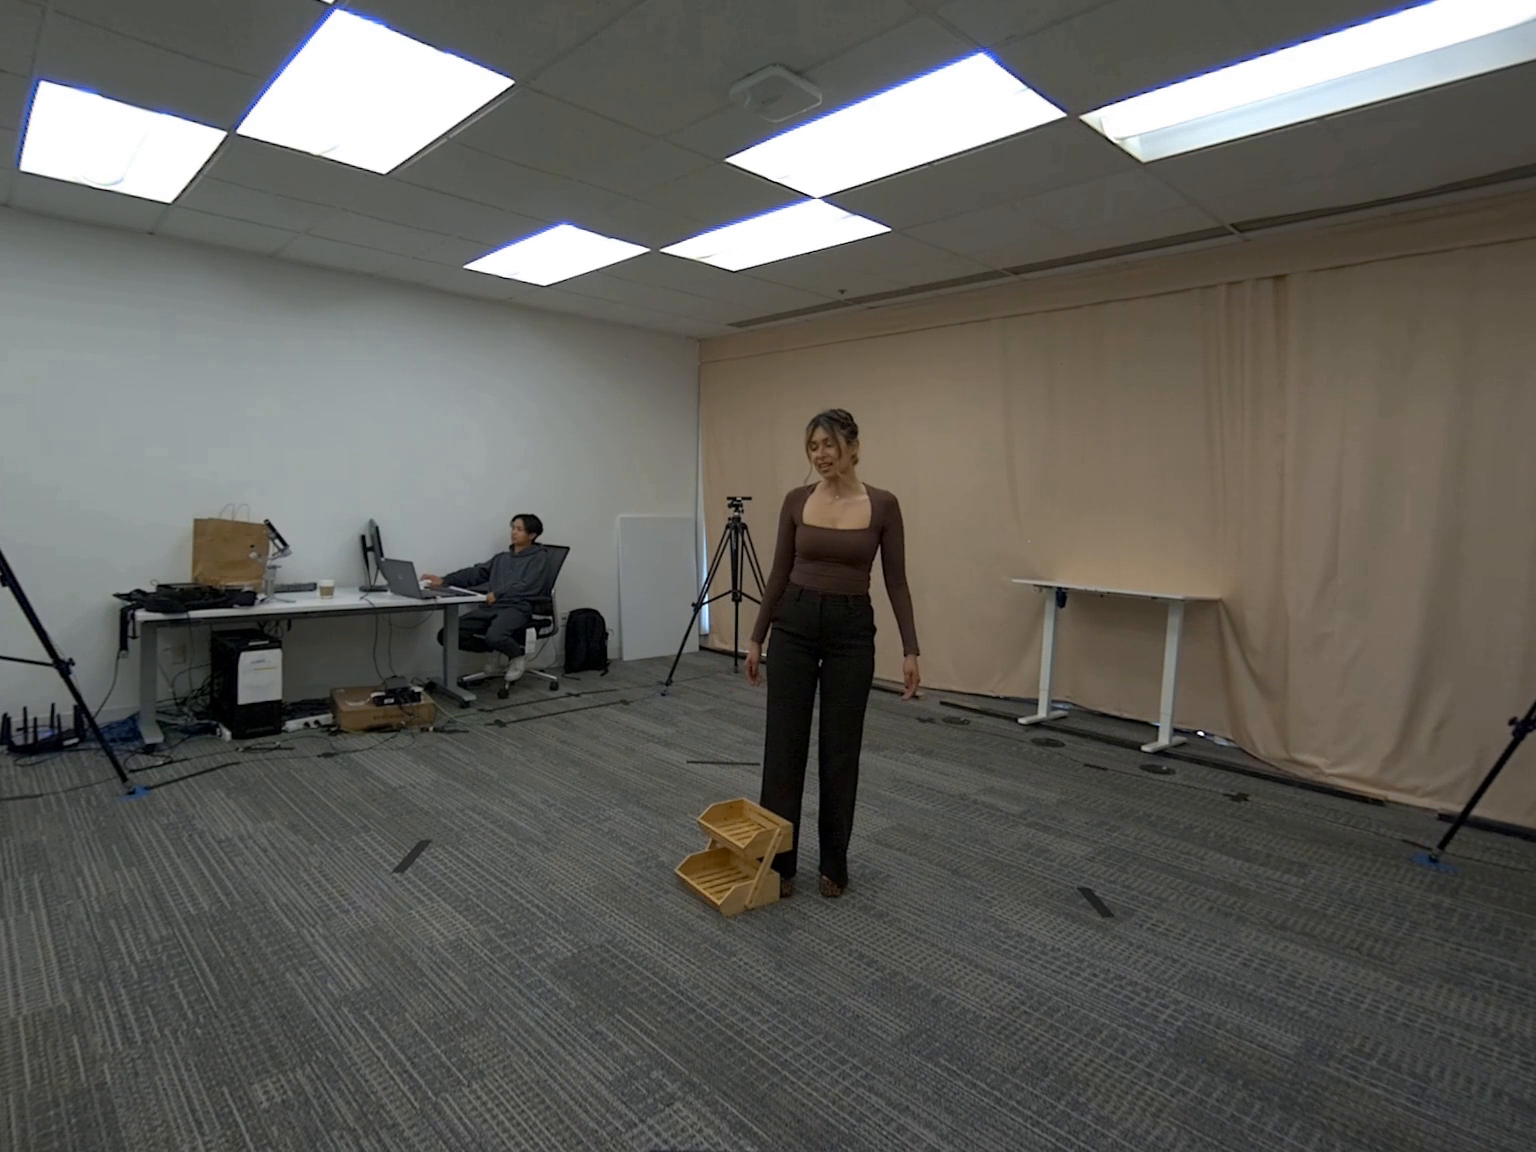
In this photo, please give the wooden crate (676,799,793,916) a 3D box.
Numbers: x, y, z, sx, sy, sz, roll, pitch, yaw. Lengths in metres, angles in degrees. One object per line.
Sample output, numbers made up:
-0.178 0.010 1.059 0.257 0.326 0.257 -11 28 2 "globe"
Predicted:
-0.138 0.984 2.979 0.295 0.273 0.332 -1 5 -35 "wooden crate"
